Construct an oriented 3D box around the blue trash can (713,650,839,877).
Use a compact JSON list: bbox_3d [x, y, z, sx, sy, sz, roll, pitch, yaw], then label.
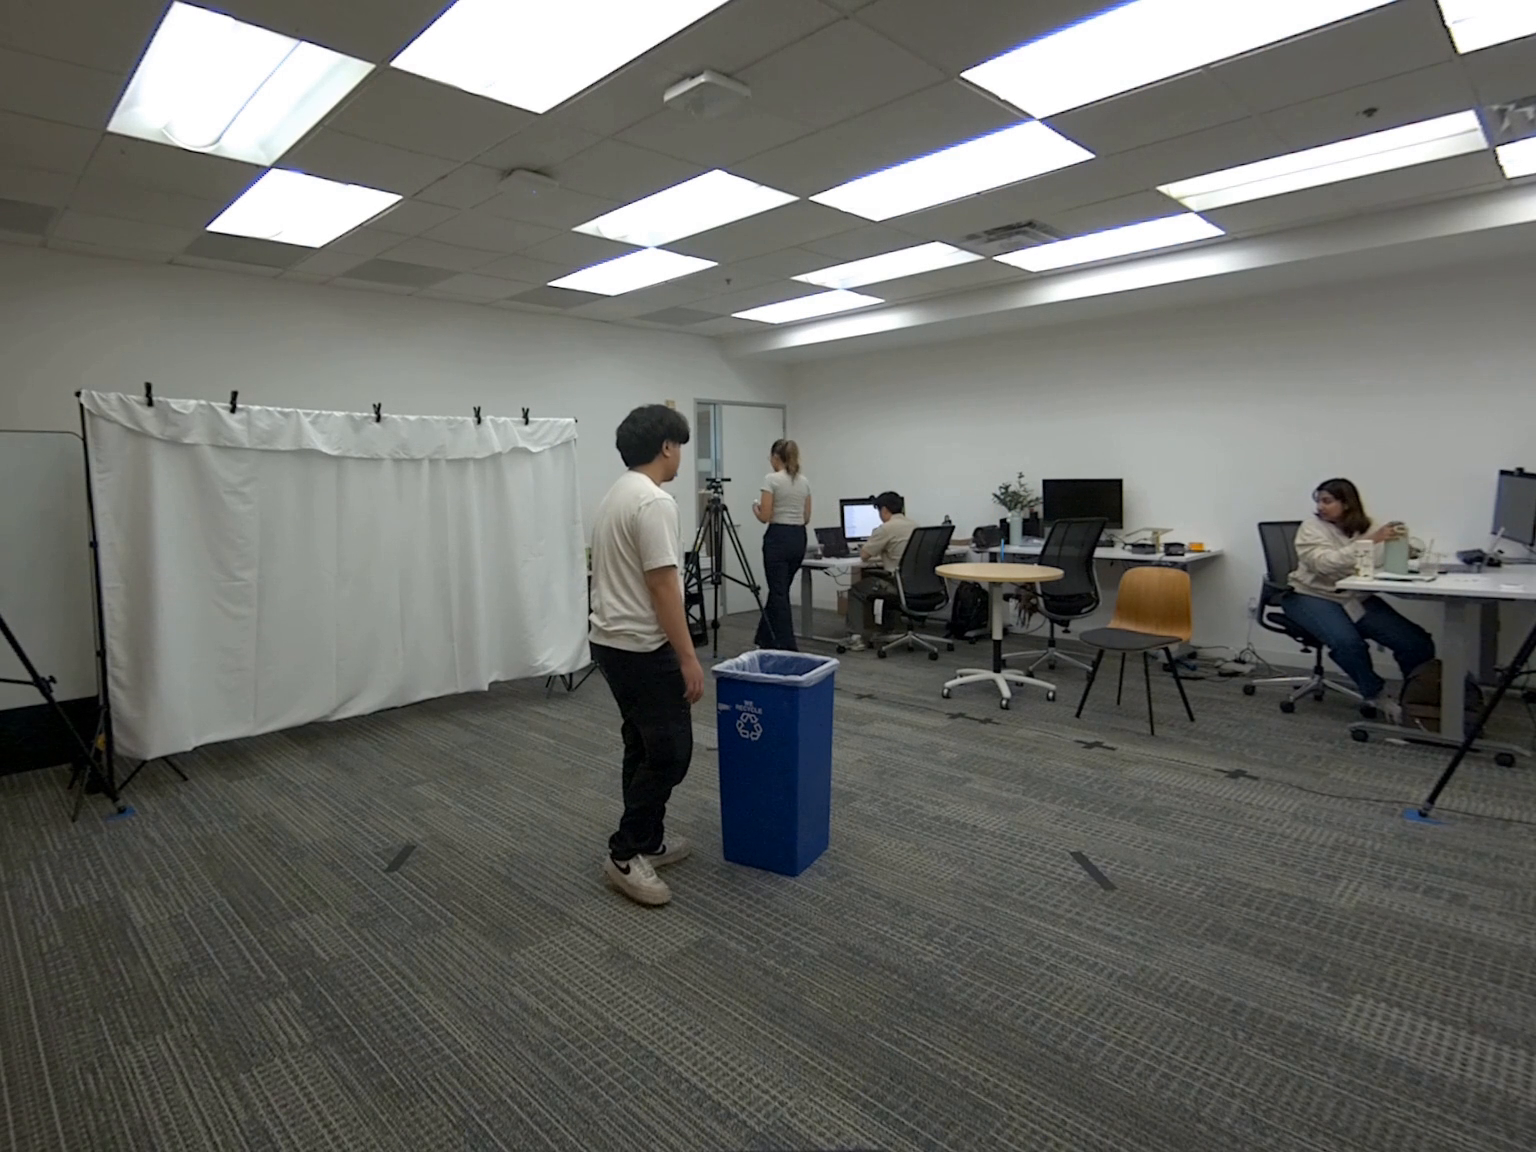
[{"bbox_3d":[0.039,0.676,3.162,0.384,0.711,0.370,1,5,29],"label":"blue trash can"}]
